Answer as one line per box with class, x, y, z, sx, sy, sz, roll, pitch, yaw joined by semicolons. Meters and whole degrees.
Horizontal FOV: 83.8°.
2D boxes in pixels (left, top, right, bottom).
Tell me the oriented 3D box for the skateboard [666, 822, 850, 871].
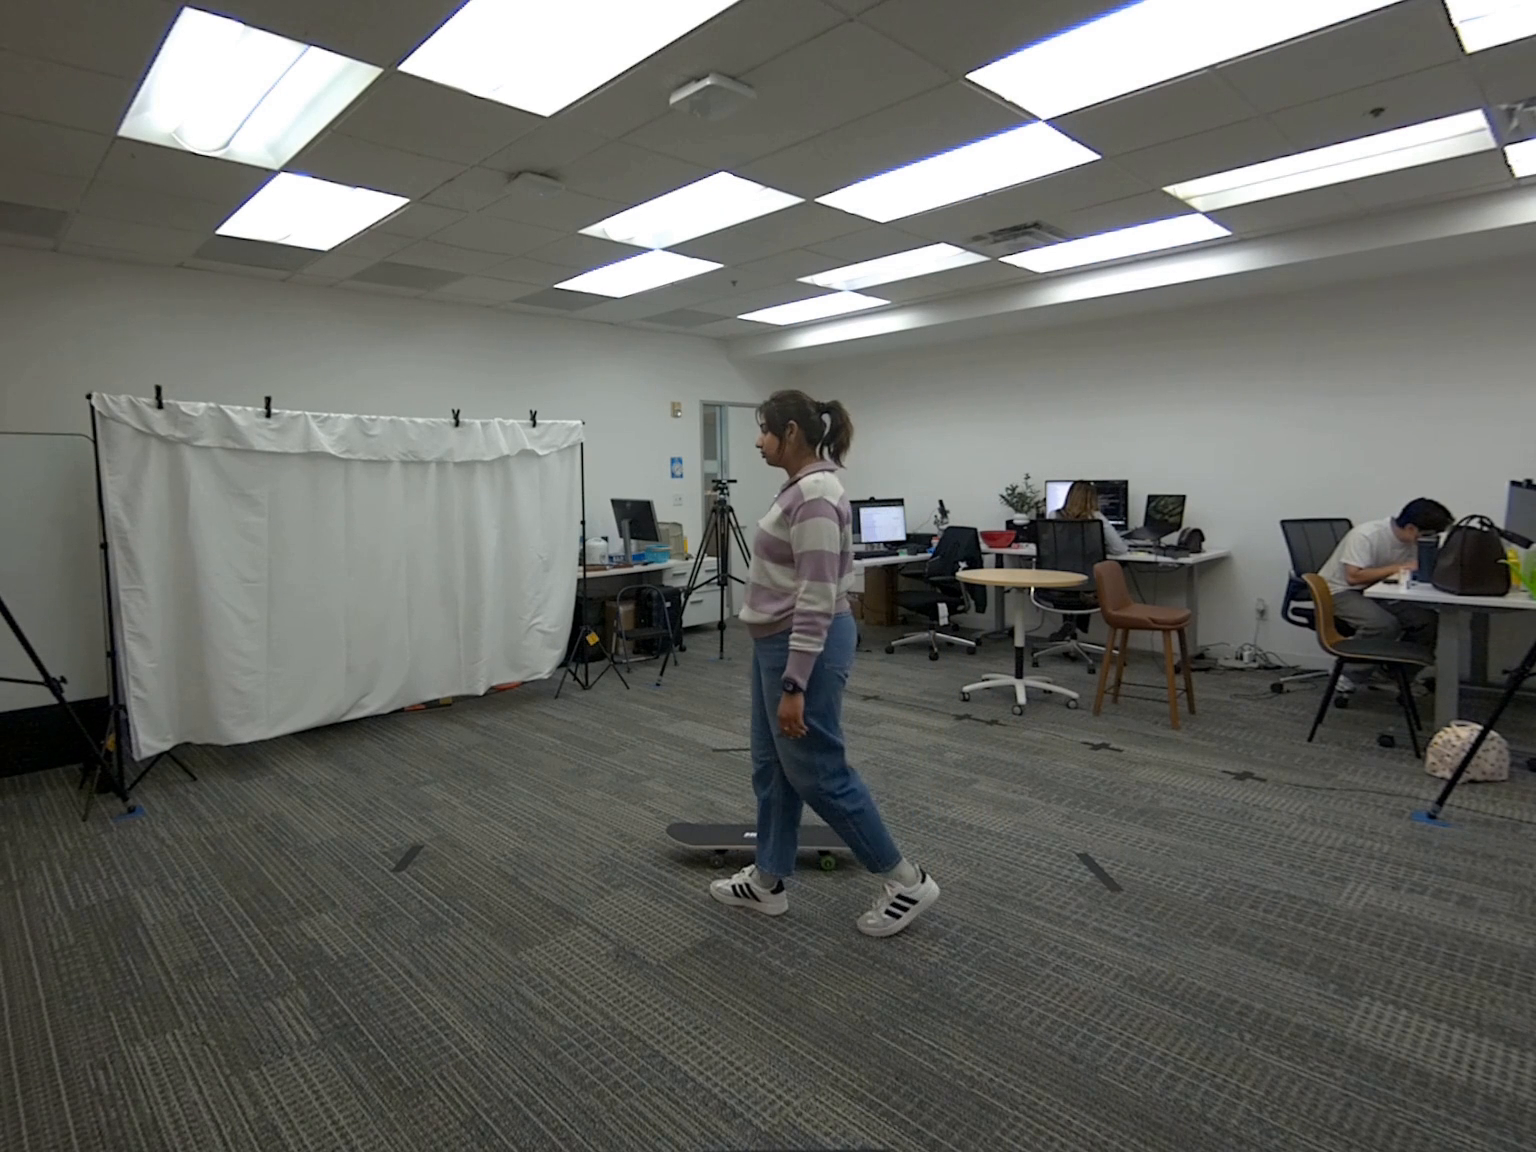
skateboard;0.017;0.982;3.139;0.789;0.110;0.193;0;5;4
